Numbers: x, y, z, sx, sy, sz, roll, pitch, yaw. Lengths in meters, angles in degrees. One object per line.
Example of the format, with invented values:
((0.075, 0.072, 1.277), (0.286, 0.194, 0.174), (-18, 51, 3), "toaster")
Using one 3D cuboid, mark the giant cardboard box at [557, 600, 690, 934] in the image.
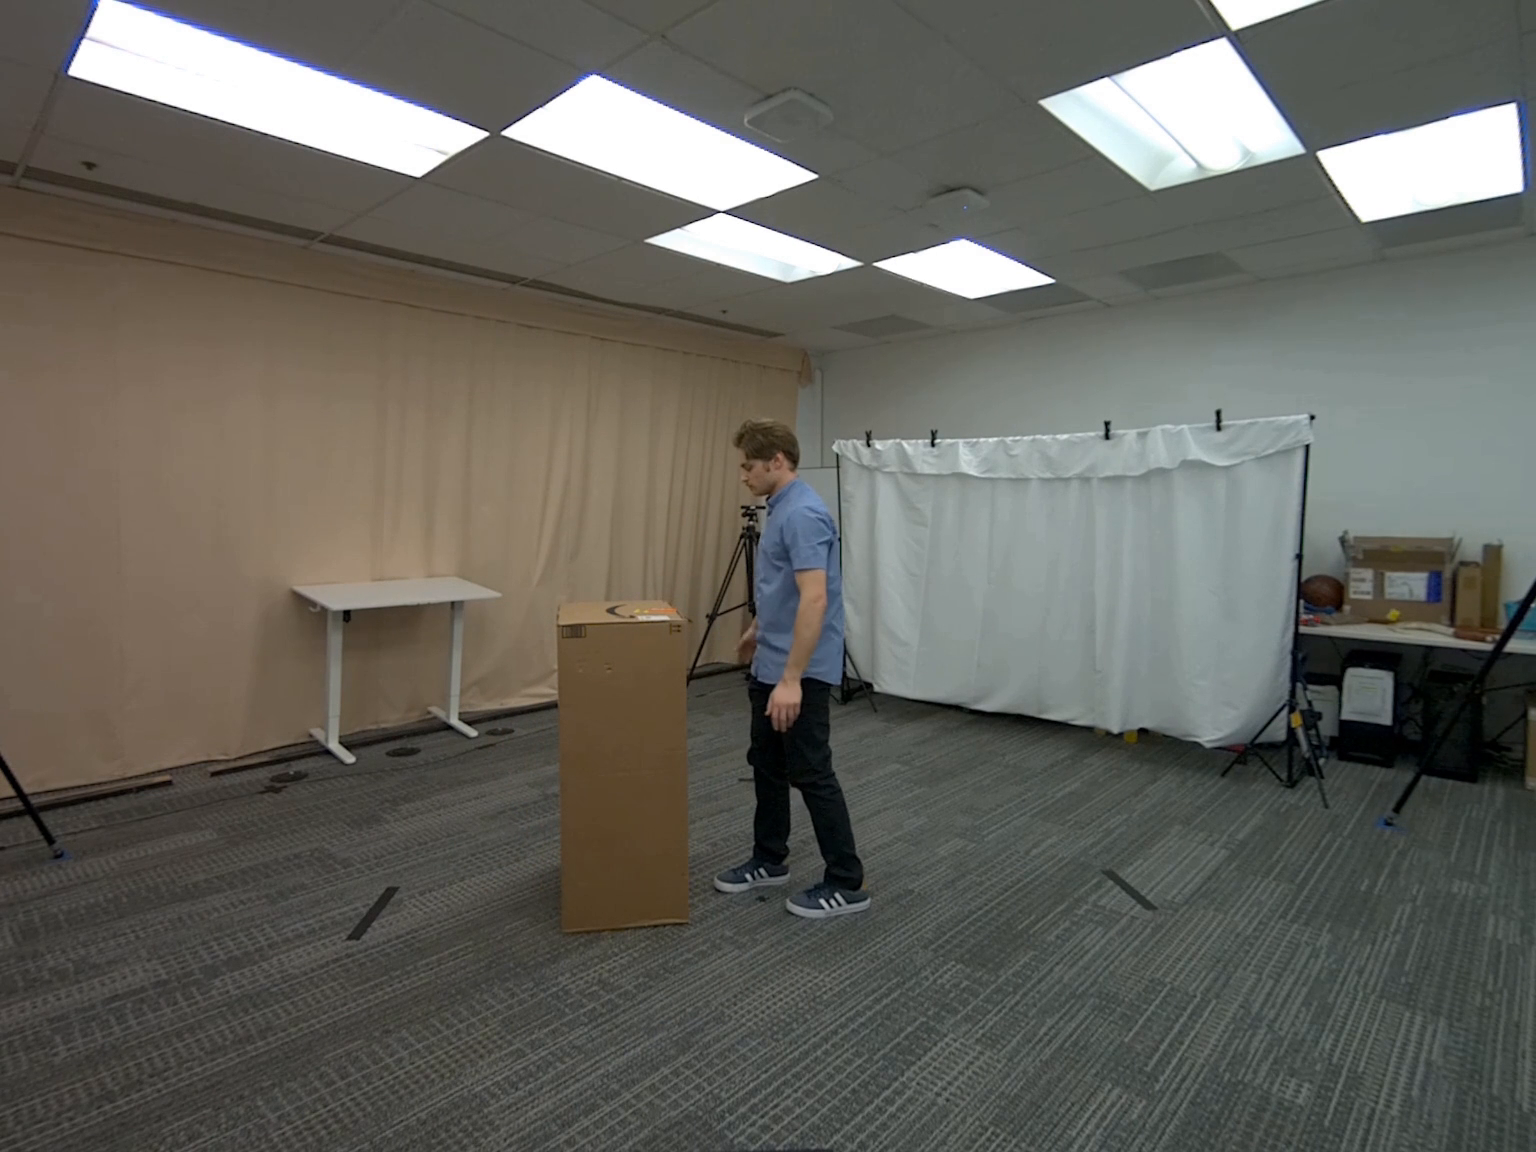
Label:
((-0.534, 0.634, 3.039), (0.442, 1.025, 0.591), (-1, 3, -10), "giant cardboard box")
